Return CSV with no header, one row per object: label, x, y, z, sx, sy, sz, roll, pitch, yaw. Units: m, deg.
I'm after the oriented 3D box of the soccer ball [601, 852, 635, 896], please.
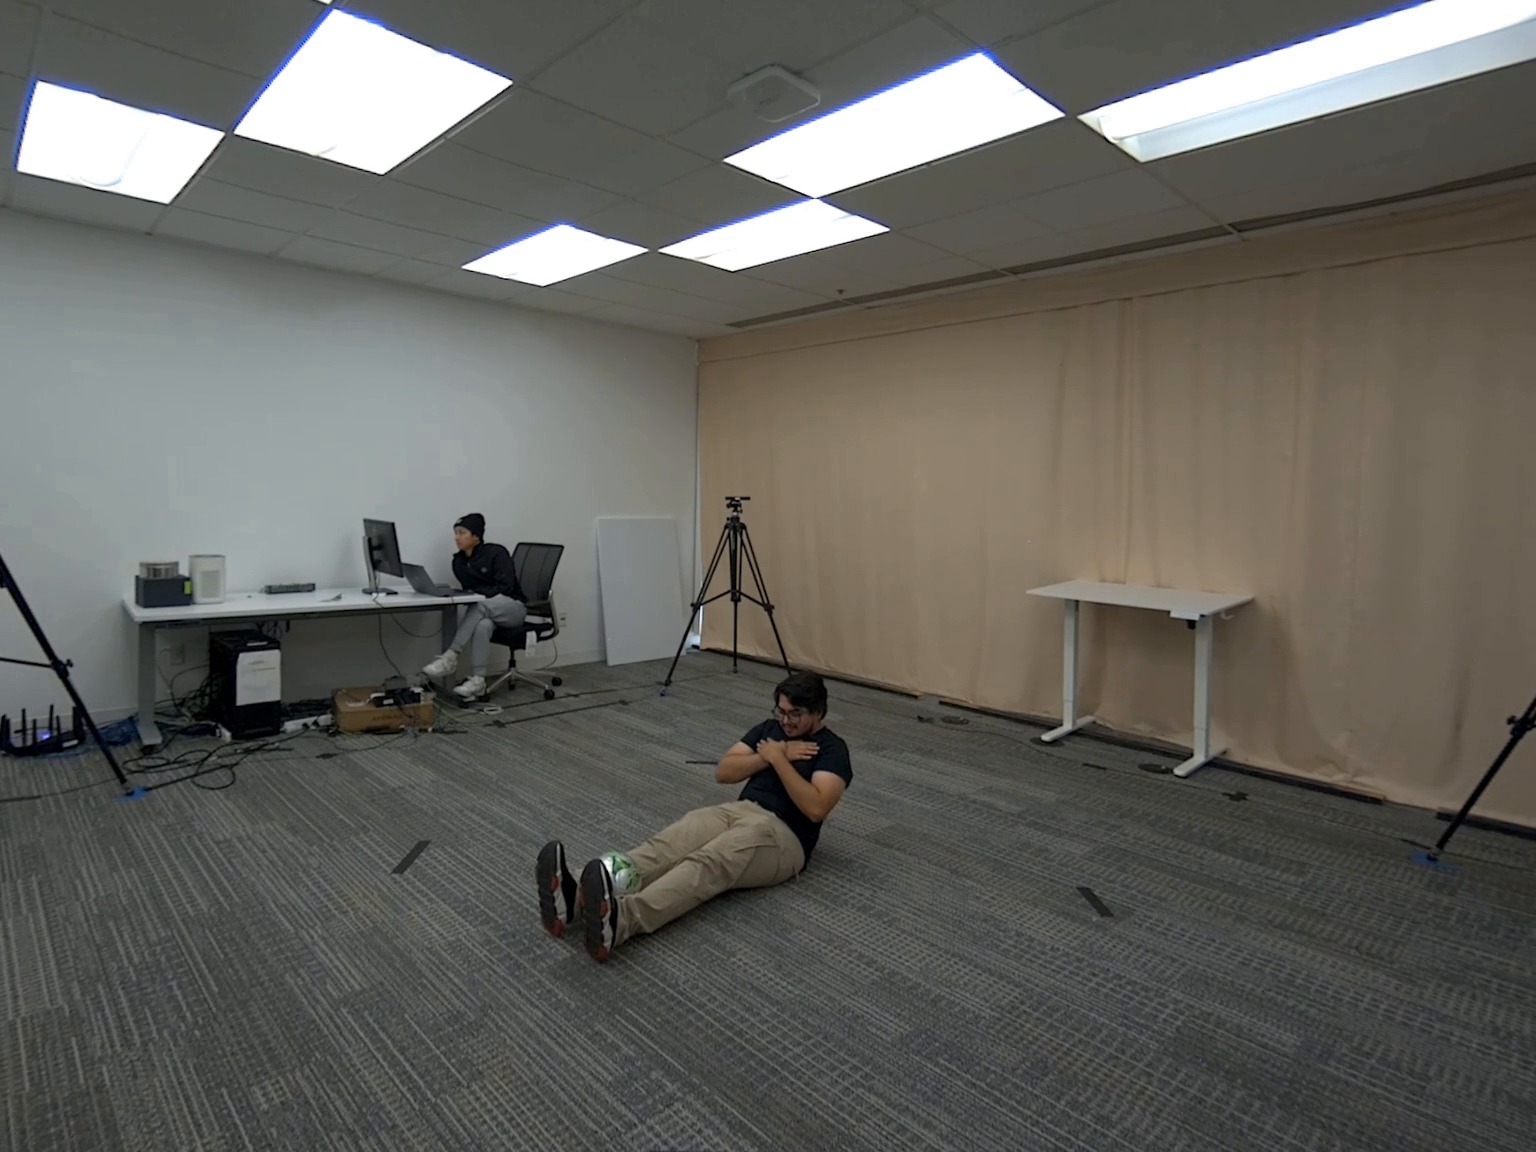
soccer ball,-0.508,0.989,2.684,0.187,0.187,0.188,1,5,-1
